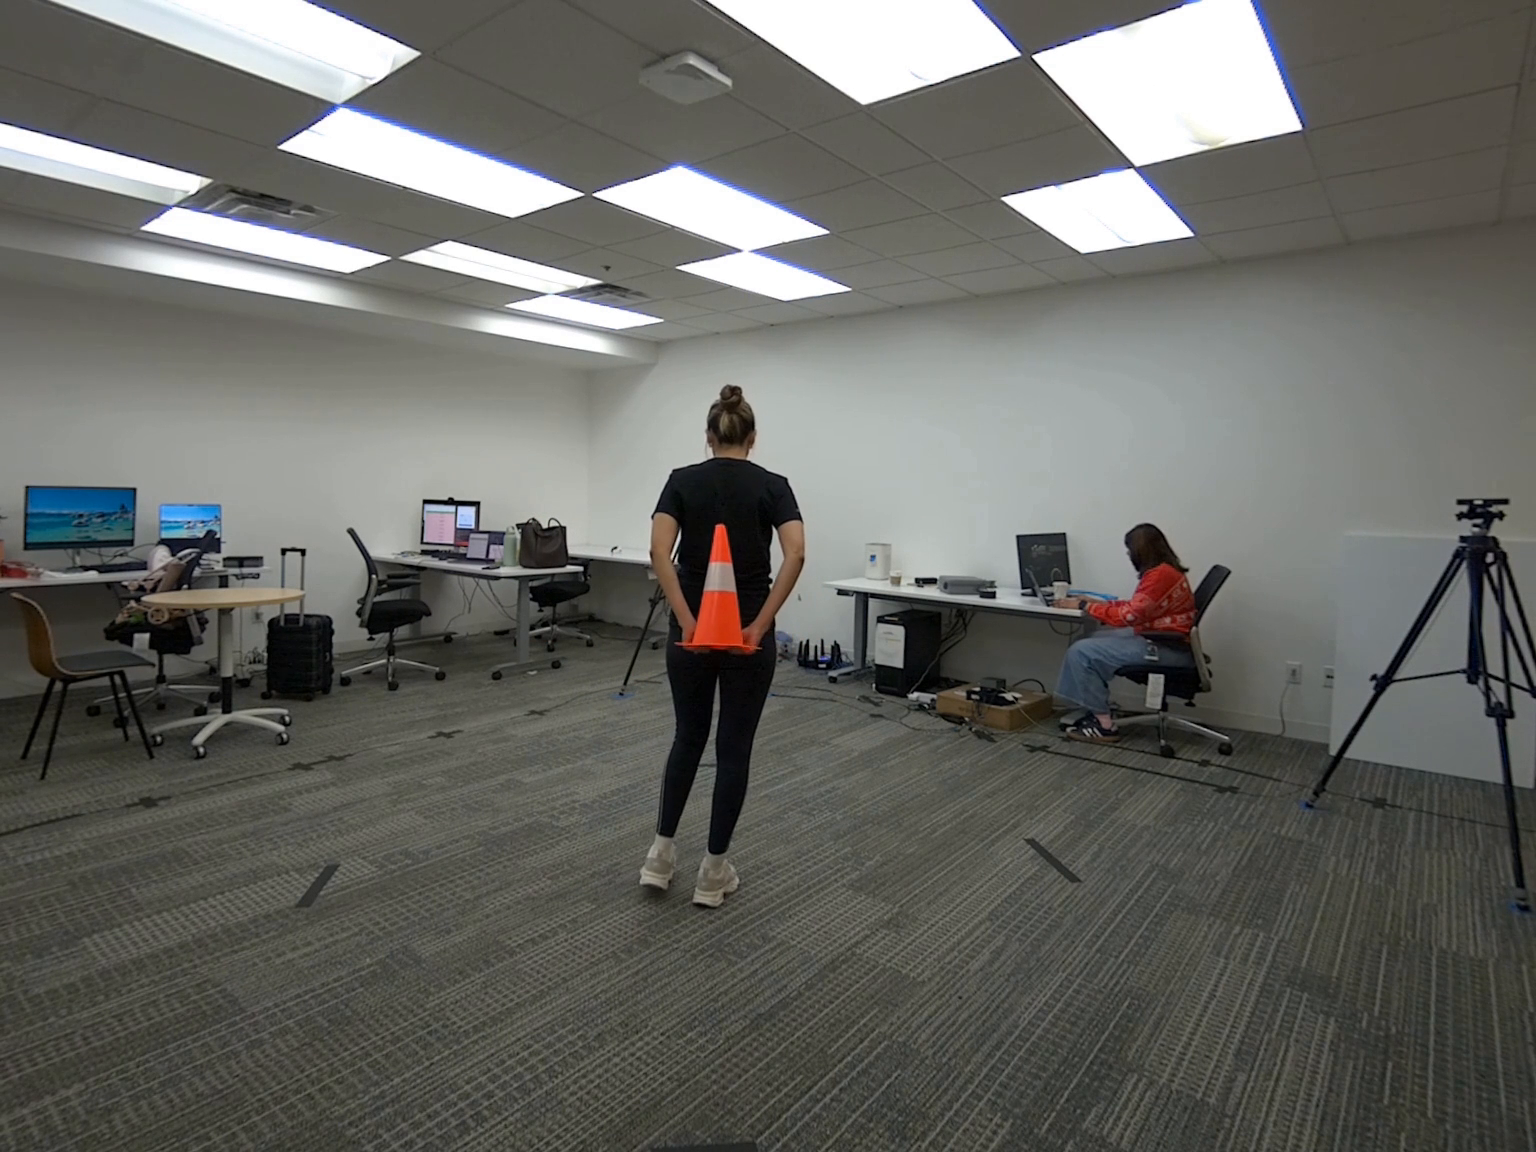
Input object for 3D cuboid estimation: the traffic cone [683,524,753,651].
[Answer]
[{"bbox_3d":[-0.158,0.027,2.667,0.197,0.387,0.210,6,-9,-32],"label":"traffic cone"}]
